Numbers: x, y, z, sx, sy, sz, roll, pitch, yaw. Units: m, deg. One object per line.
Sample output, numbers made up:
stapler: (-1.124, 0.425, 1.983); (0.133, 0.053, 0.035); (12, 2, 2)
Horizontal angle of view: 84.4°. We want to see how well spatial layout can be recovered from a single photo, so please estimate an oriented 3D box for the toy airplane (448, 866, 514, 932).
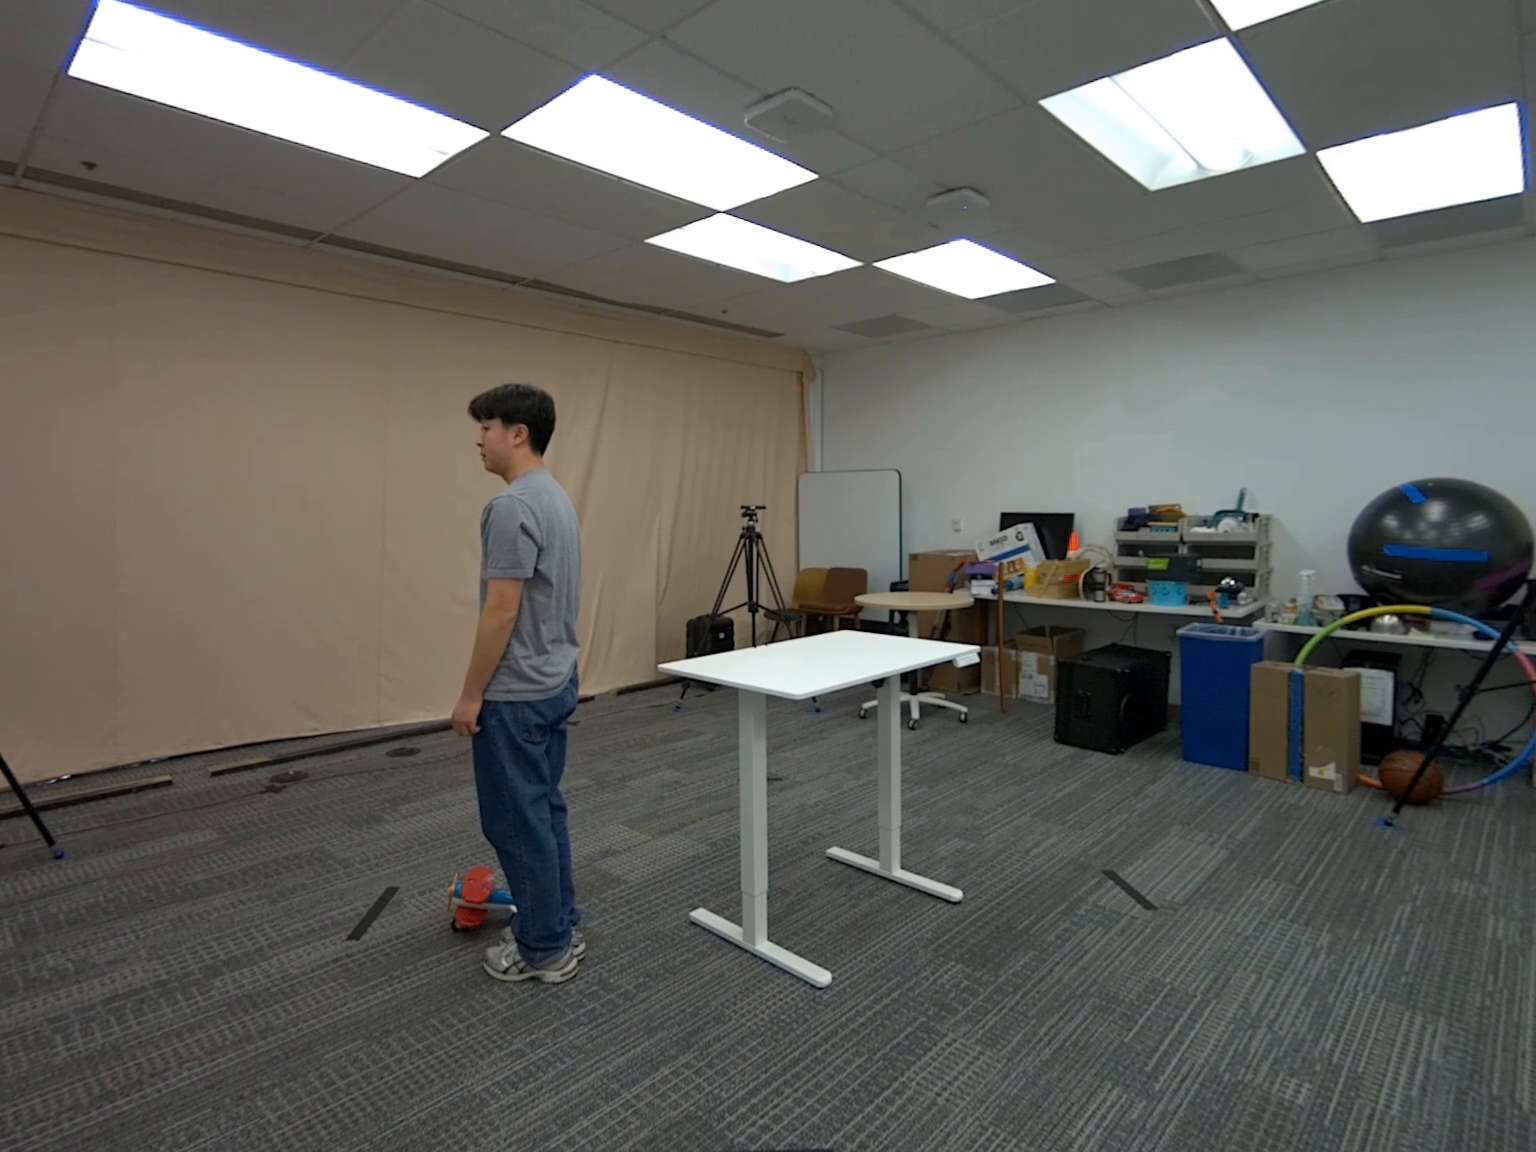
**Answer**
toy airplane: (-0.946, 1.087, 2.832); (0.252, 0.156, 0.259); (-5, 6, -37)
